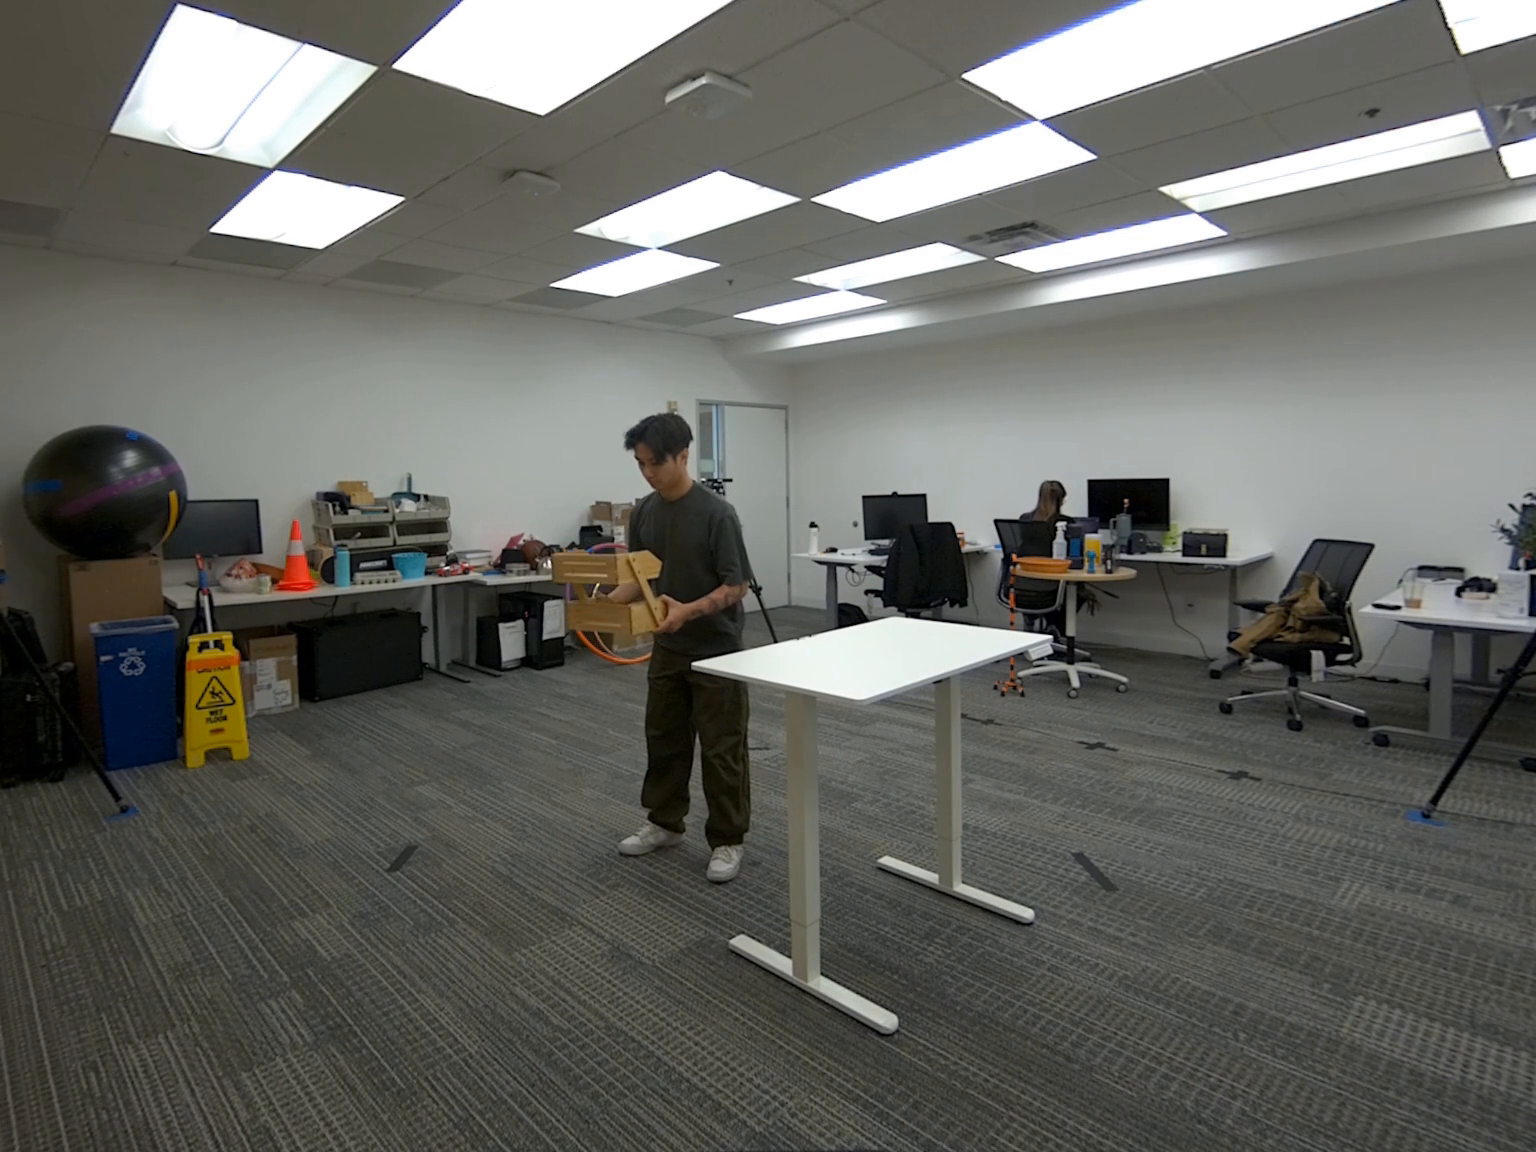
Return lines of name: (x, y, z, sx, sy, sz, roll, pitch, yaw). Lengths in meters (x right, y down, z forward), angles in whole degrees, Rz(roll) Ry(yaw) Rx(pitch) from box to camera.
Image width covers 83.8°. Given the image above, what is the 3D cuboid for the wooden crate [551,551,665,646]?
wooden crate: (-0.502, 0.040, 2.862, 0.333, 0.272, 0.295, 0, 6, 36)
